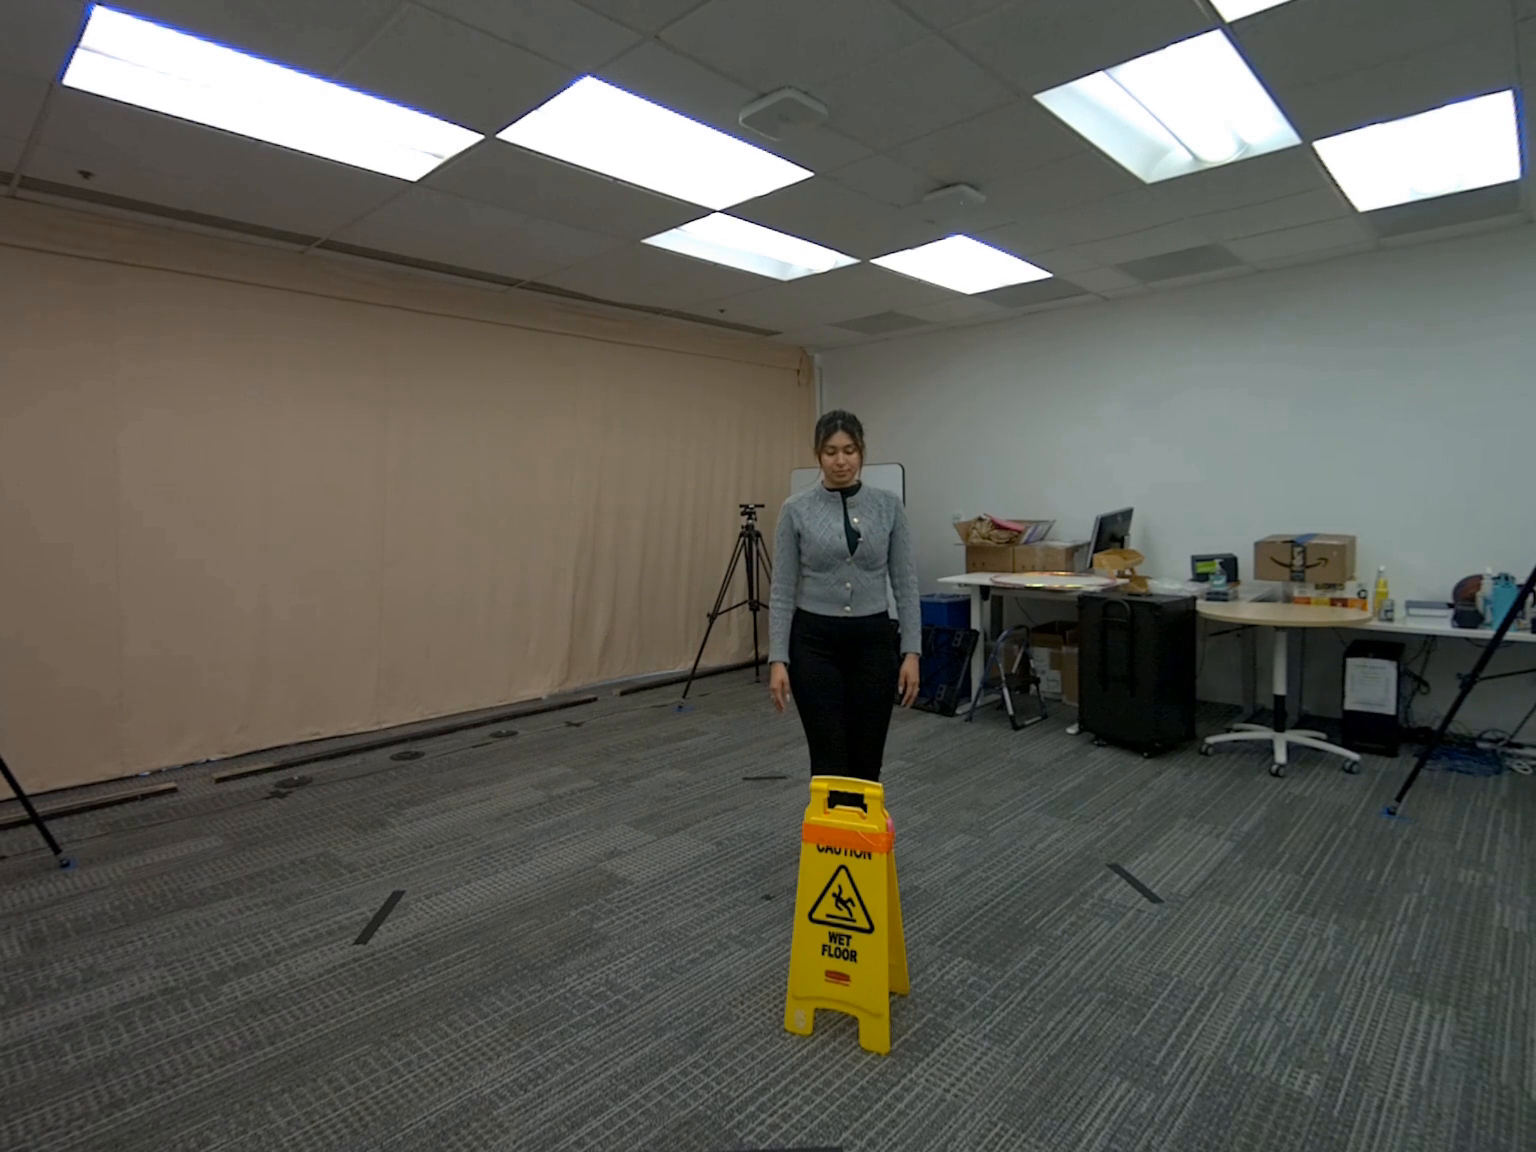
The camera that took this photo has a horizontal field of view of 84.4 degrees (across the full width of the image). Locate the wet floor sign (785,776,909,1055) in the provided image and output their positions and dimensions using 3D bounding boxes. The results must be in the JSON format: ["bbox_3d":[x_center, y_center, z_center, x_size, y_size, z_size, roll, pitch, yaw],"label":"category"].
[{"bbox_3d":[0.222,0.873,2.287,0.289,0.644,0.284,0,4,22],"label":"wet floor sign"}]
